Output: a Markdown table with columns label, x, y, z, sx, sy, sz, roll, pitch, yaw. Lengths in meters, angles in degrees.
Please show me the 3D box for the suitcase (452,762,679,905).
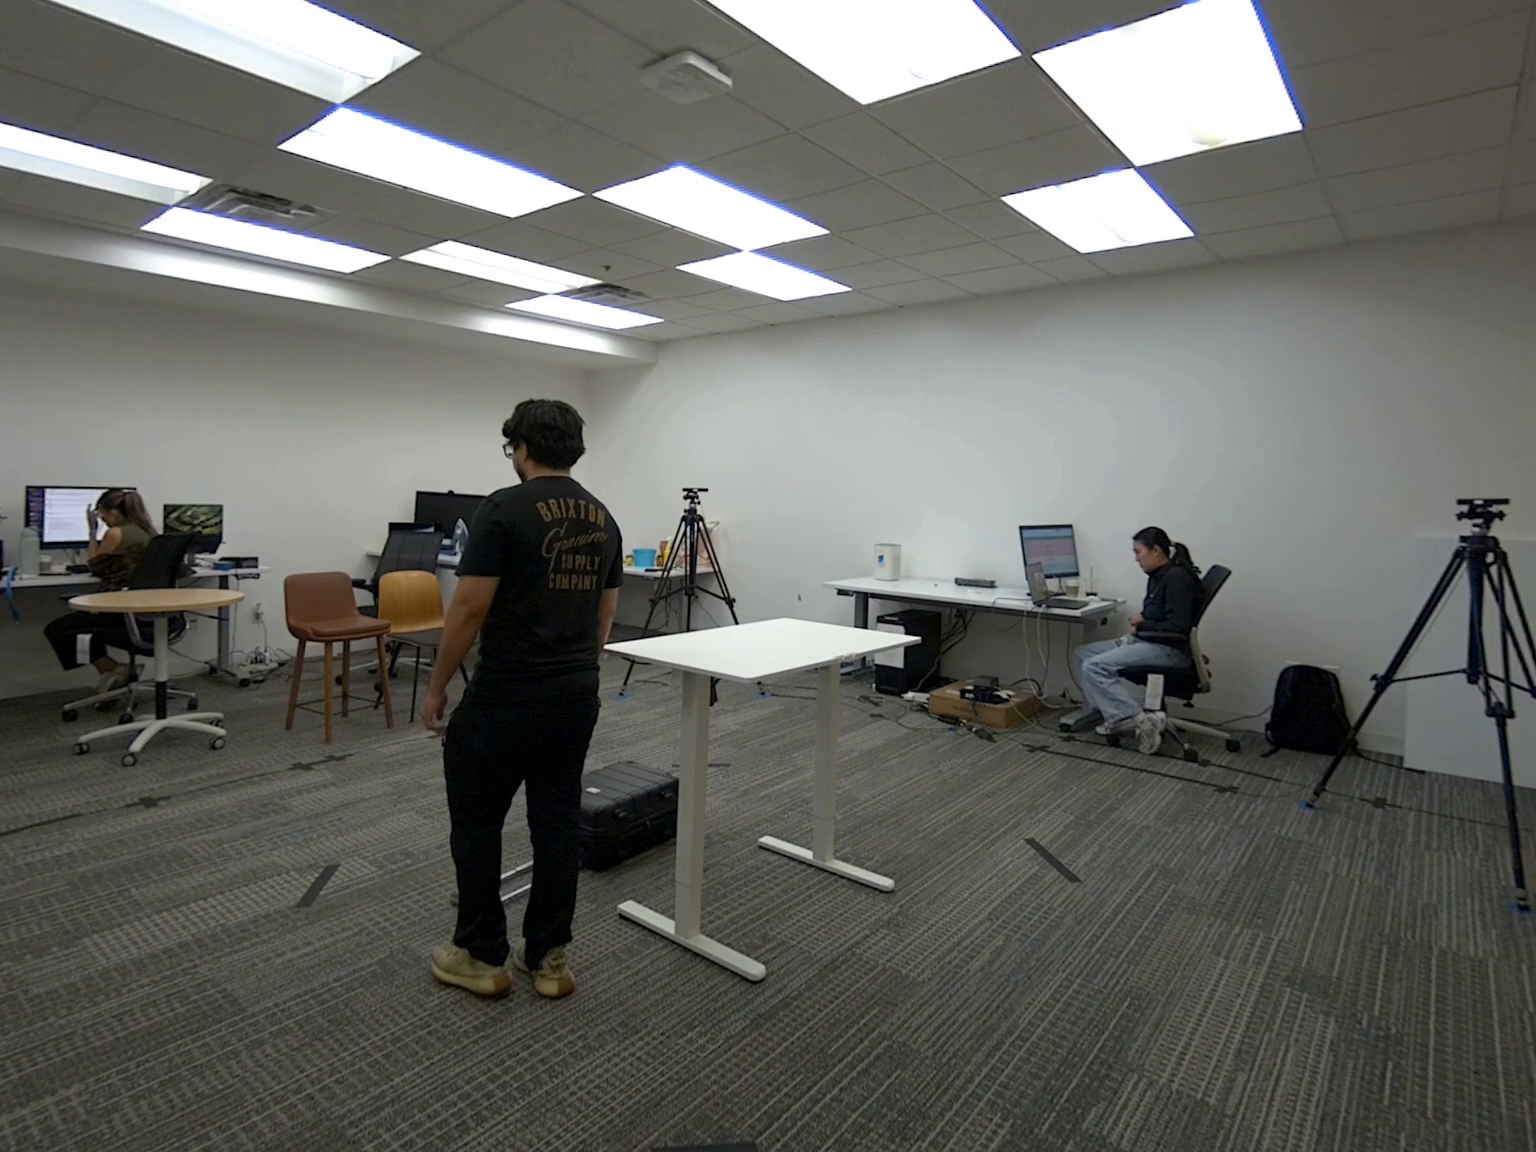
| label | x | y | z | sx | sy | sz | roll | pitch | yaw |
| --- | --- | --- | --- | --- | --- | --- | --- | --- | --- |
| suitcase | -0.724 | 0.931 | 3.165 | 0.396 | 0.256 | 0.950 | 5 | 6 | 35 |
